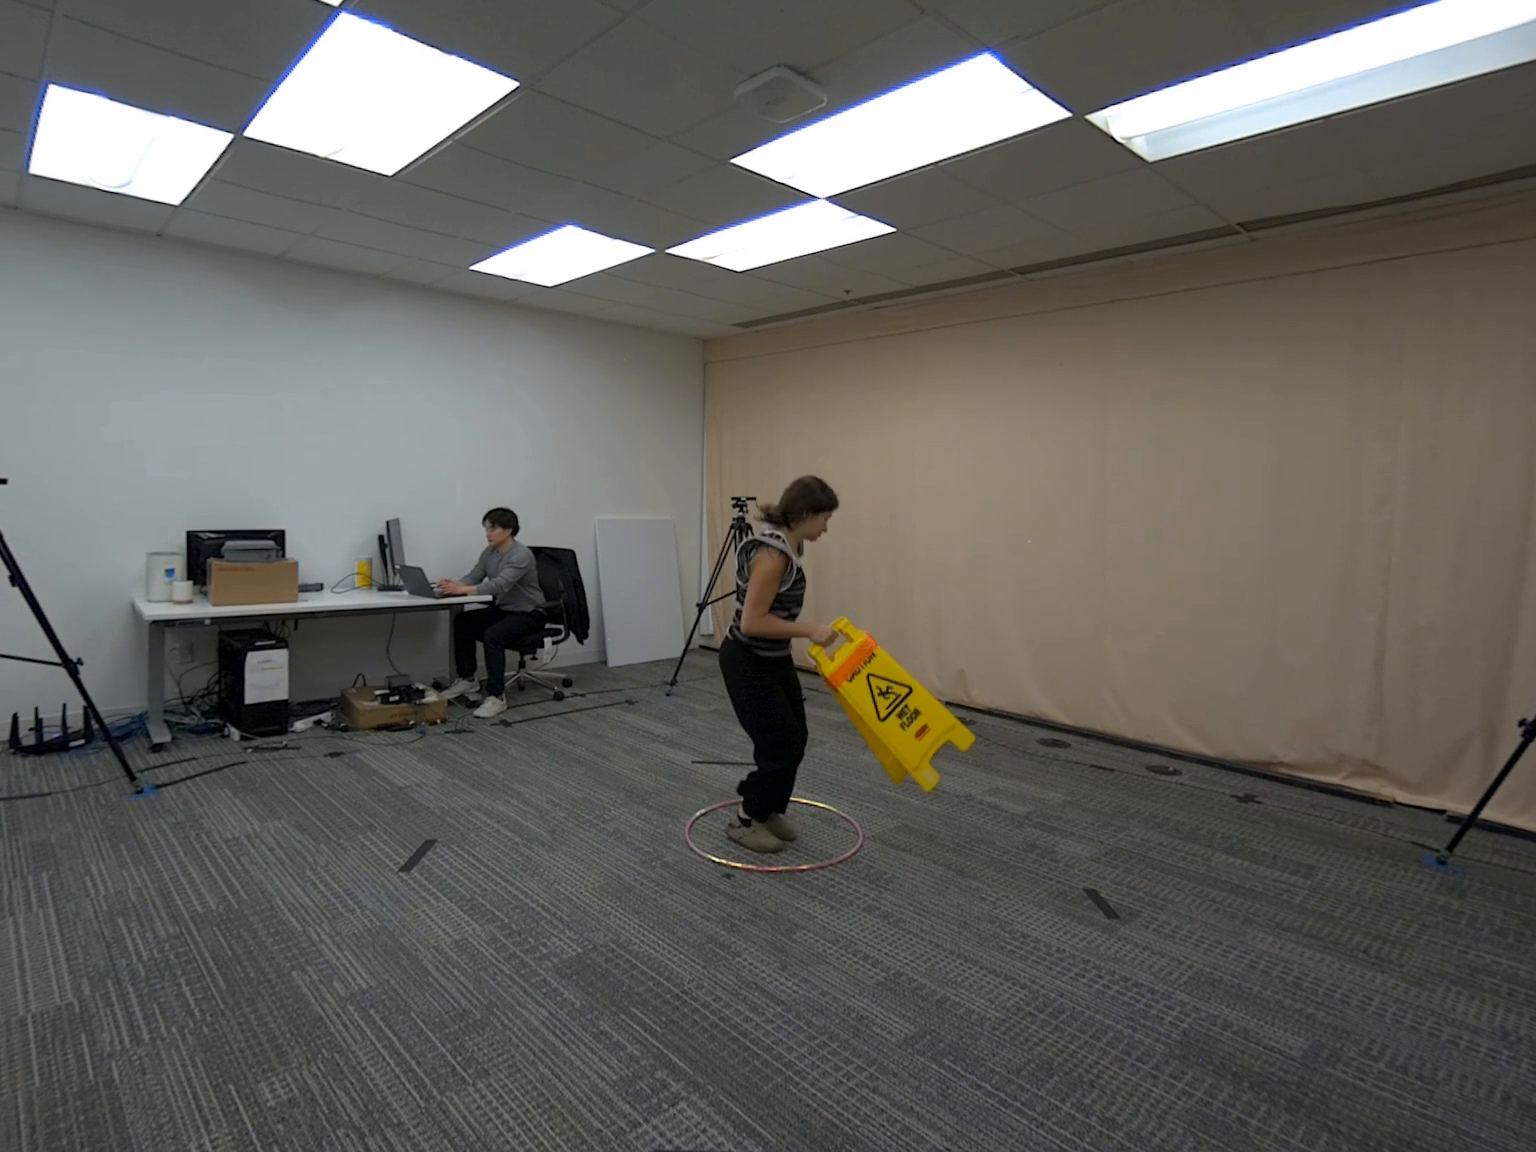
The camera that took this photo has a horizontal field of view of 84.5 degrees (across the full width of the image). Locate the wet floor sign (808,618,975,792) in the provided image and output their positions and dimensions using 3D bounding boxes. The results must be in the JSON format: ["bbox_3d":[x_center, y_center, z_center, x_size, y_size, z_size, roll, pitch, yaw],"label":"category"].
[{"bbox_3d":[0.375,0.438,3.143,0.281,0.643,0.292,-40,5,-18],"label":"wet floor sign"}]
